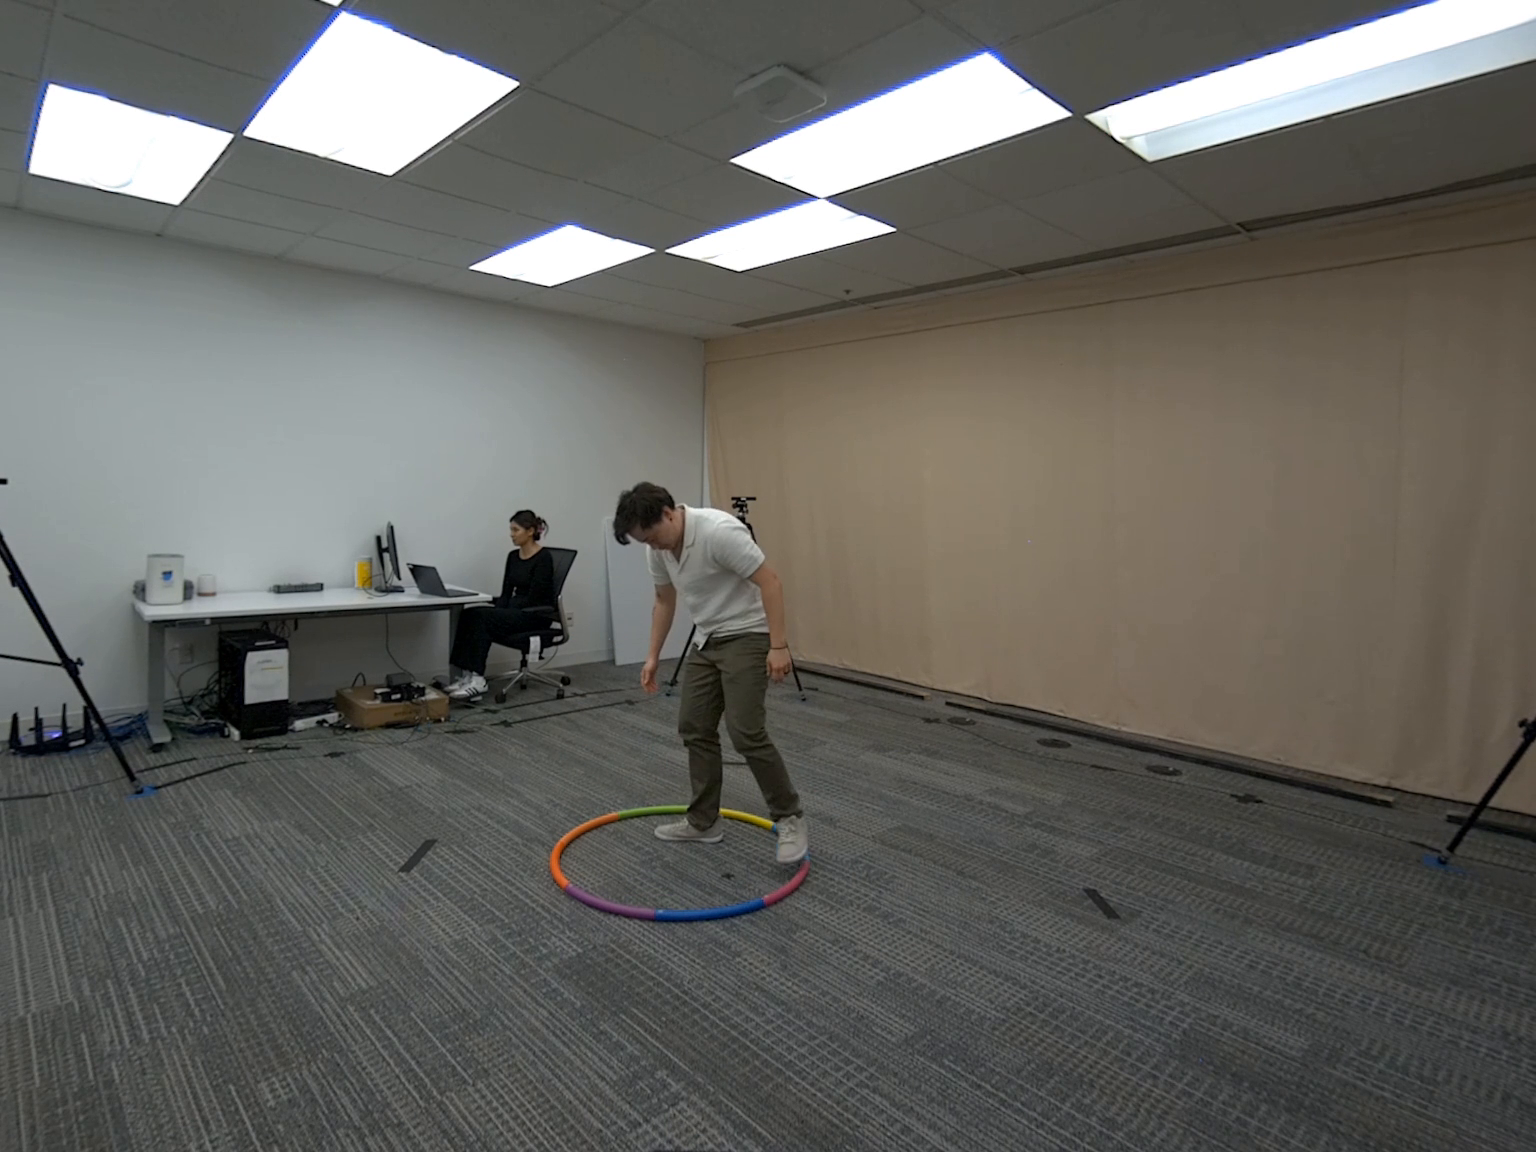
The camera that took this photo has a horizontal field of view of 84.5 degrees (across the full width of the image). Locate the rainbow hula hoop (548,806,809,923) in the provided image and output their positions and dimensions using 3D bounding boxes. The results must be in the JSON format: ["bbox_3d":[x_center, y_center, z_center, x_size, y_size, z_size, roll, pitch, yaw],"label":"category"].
[{"bbox_3d":[-0.340,1.063,3.236,0.978,0.035,0.982,1,6,-1],"label":"rainbow hula hoop"}]
